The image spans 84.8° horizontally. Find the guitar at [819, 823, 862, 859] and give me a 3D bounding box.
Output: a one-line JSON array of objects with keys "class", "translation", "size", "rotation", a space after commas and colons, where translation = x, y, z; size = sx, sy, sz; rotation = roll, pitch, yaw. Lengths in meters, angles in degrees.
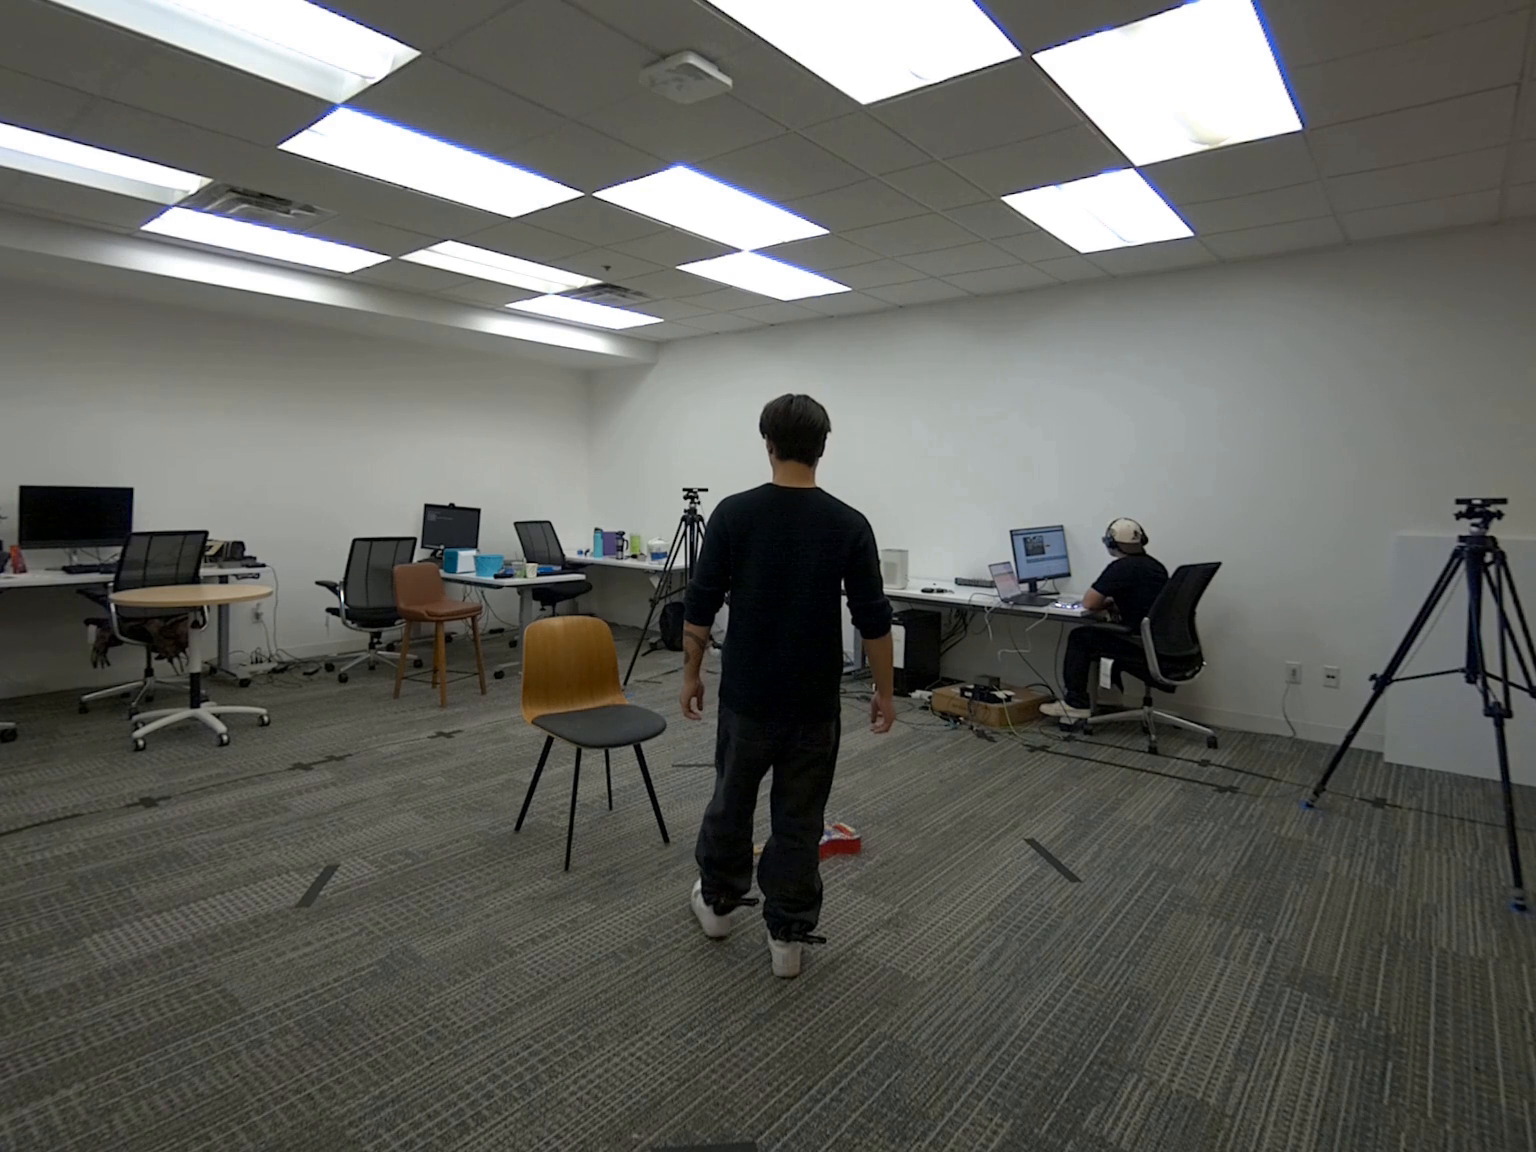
[{"class": "guitar", "translation": [0.118, 1.026, 3.288], "size": [0.487, 0.070, 0.198], "rotation": [-1, 6, -23]}]
